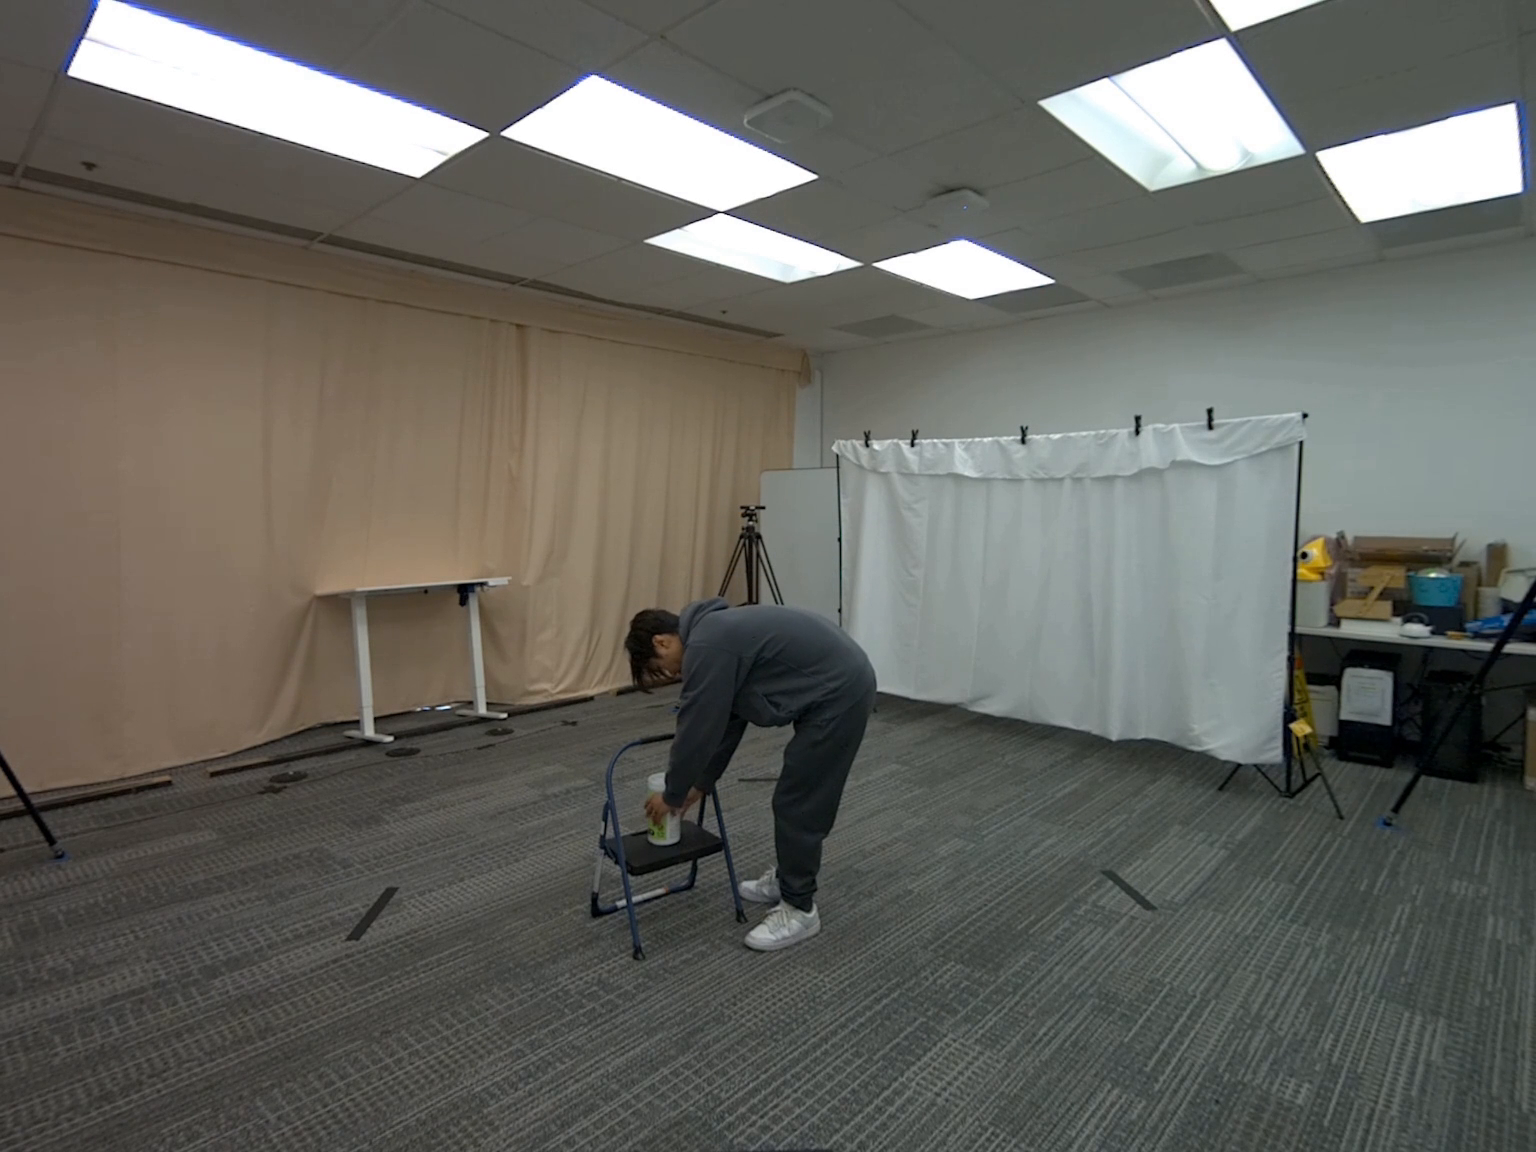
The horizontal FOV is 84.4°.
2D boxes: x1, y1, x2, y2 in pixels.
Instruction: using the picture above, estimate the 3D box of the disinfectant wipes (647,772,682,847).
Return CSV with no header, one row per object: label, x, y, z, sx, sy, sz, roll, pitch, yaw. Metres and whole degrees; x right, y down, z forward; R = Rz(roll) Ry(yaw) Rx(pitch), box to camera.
disinfectant wipes,-0.348,0.795,2.848,0.118,0.217,0.118,0,5,-2
